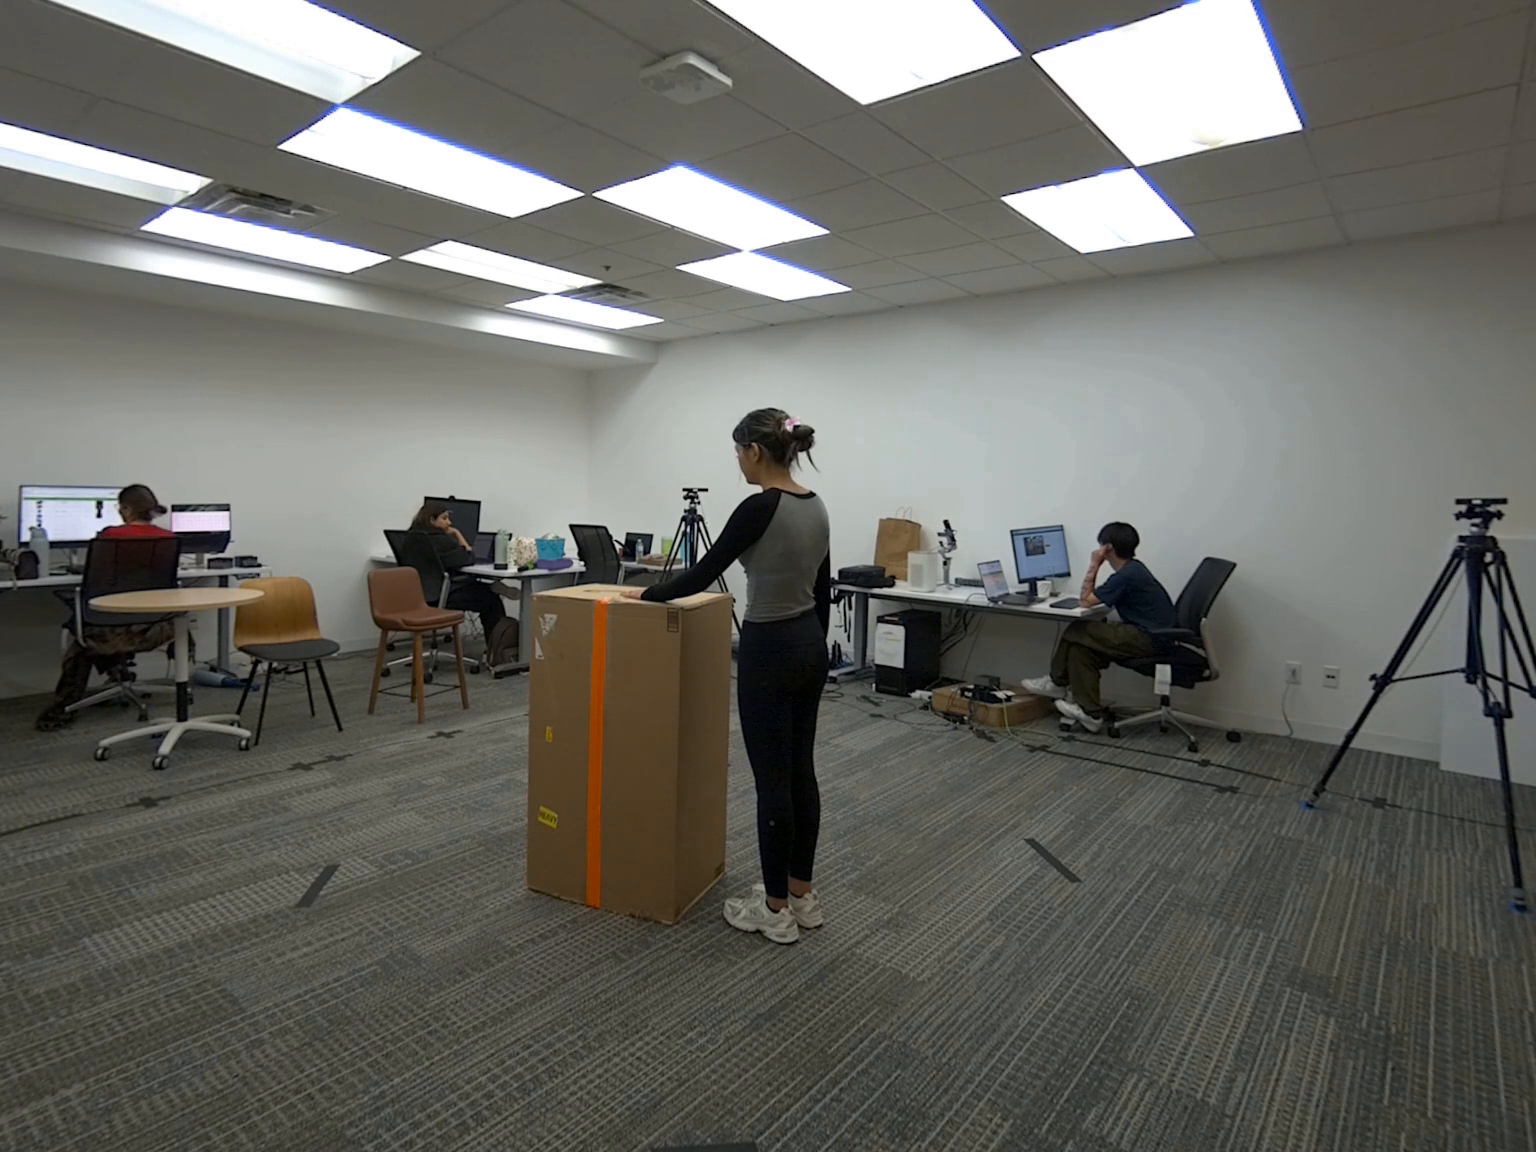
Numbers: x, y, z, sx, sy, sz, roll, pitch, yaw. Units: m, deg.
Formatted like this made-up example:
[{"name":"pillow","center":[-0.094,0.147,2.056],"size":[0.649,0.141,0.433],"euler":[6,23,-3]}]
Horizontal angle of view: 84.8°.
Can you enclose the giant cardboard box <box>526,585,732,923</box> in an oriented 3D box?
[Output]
[{"name":"giant cardboard box","center":[-0.494,0.572,2.979],"size":[0.598,1.025,0.437],"euler":[3,3,22]}]
